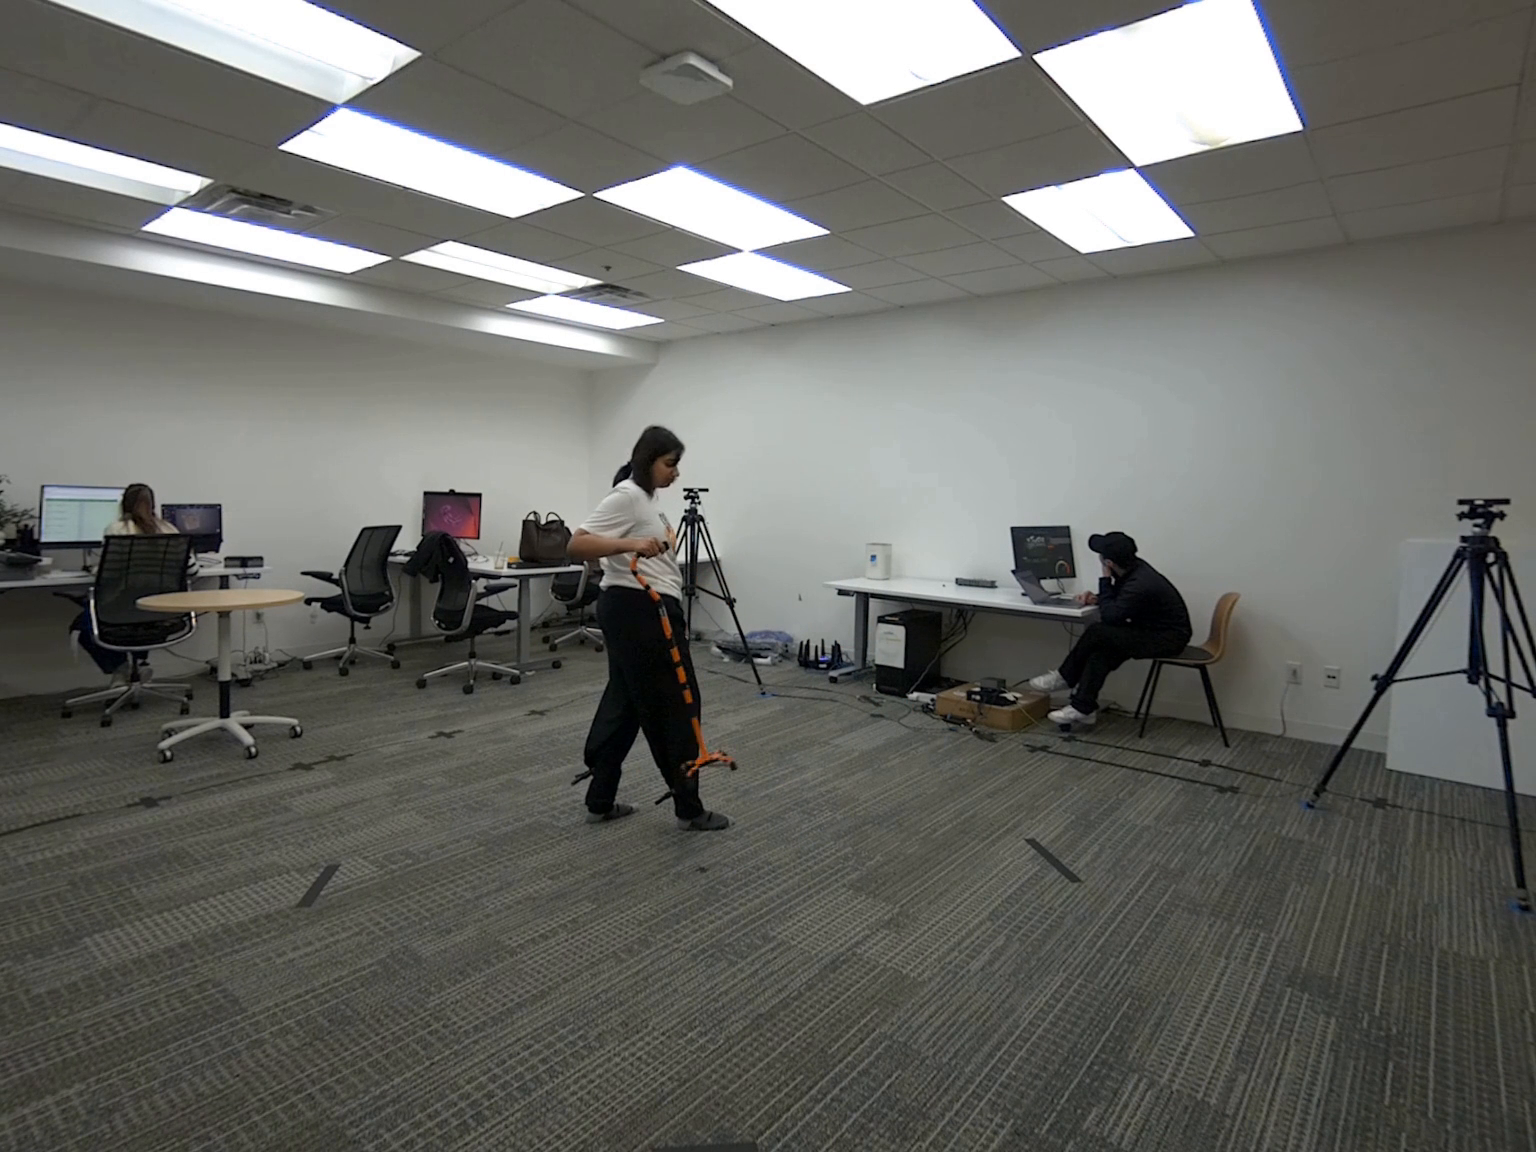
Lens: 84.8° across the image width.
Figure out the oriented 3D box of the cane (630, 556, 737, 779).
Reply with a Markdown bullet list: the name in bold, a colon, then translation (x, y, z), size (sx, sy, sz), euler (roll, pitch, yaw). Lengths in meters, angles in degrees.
- **cane**: translation (-0.351, 0.335, 3.261), size (0.204, 0.903, 0.154), euler (-16, 4, -15)
